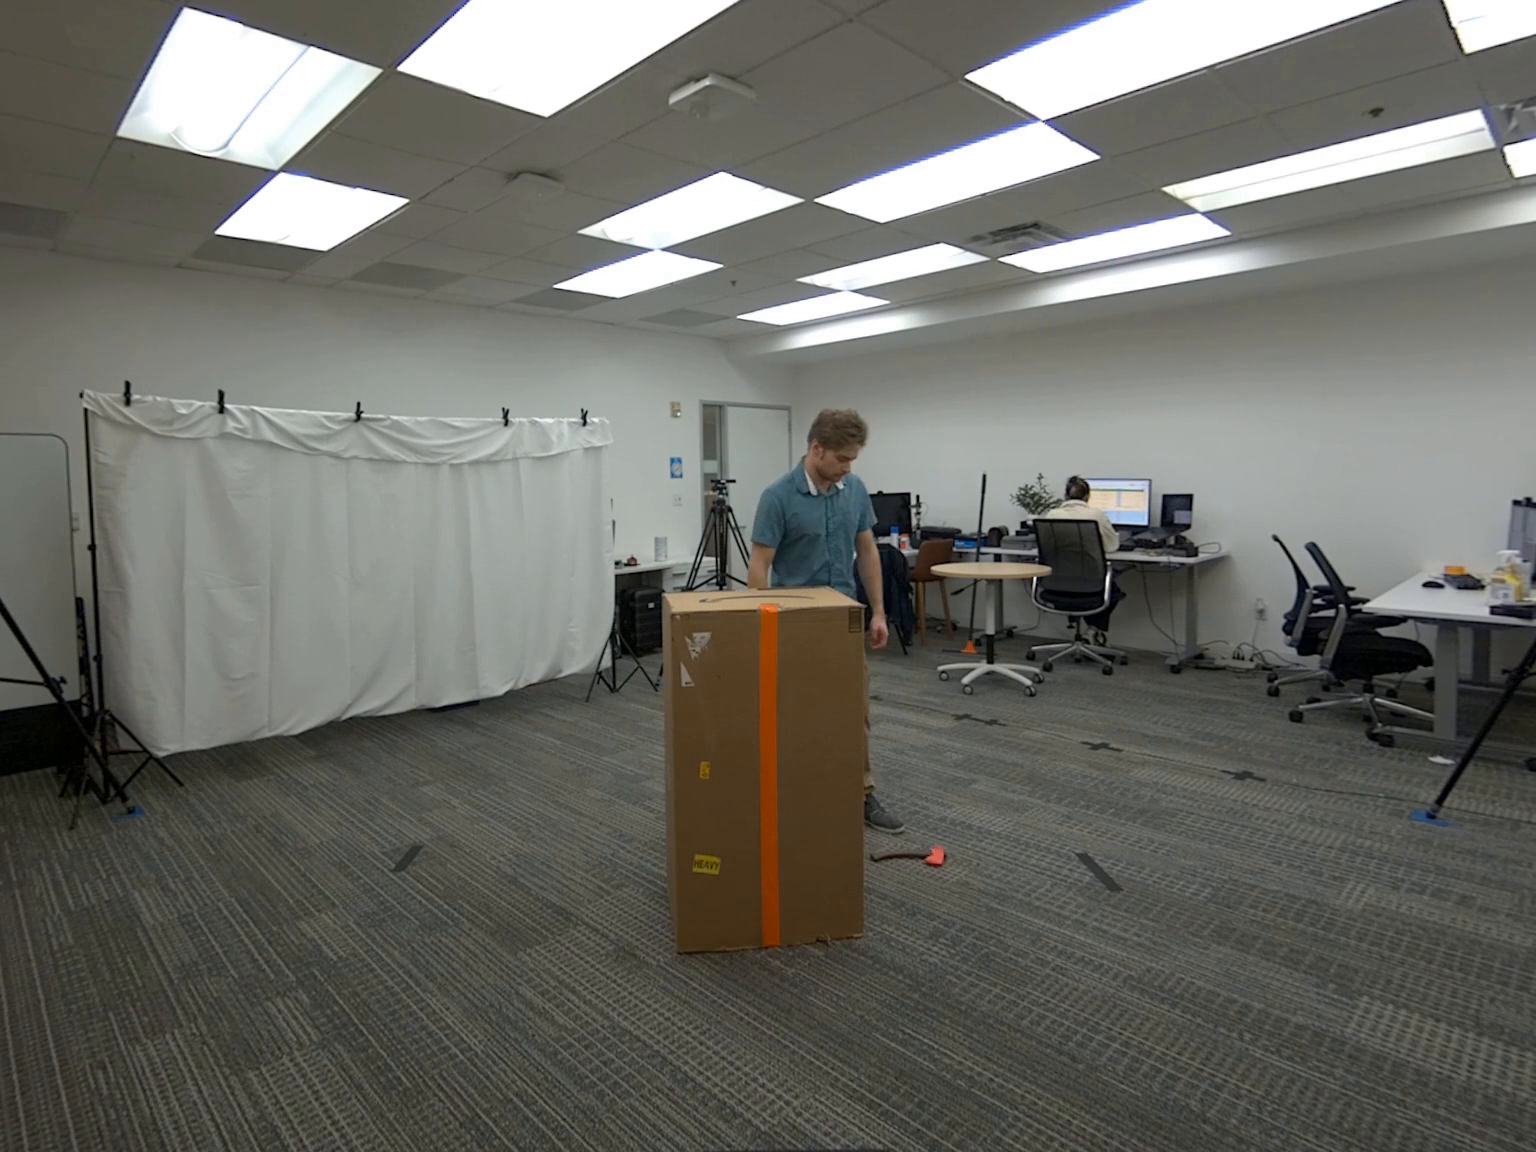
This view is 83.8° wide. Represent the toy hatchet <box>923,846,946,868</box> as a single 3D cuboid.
[{"bbox_3d":[0.519,1.025,3.099,0.268,0.029,0.133,-5,9,-9],"label":"toy hatchet"}]
